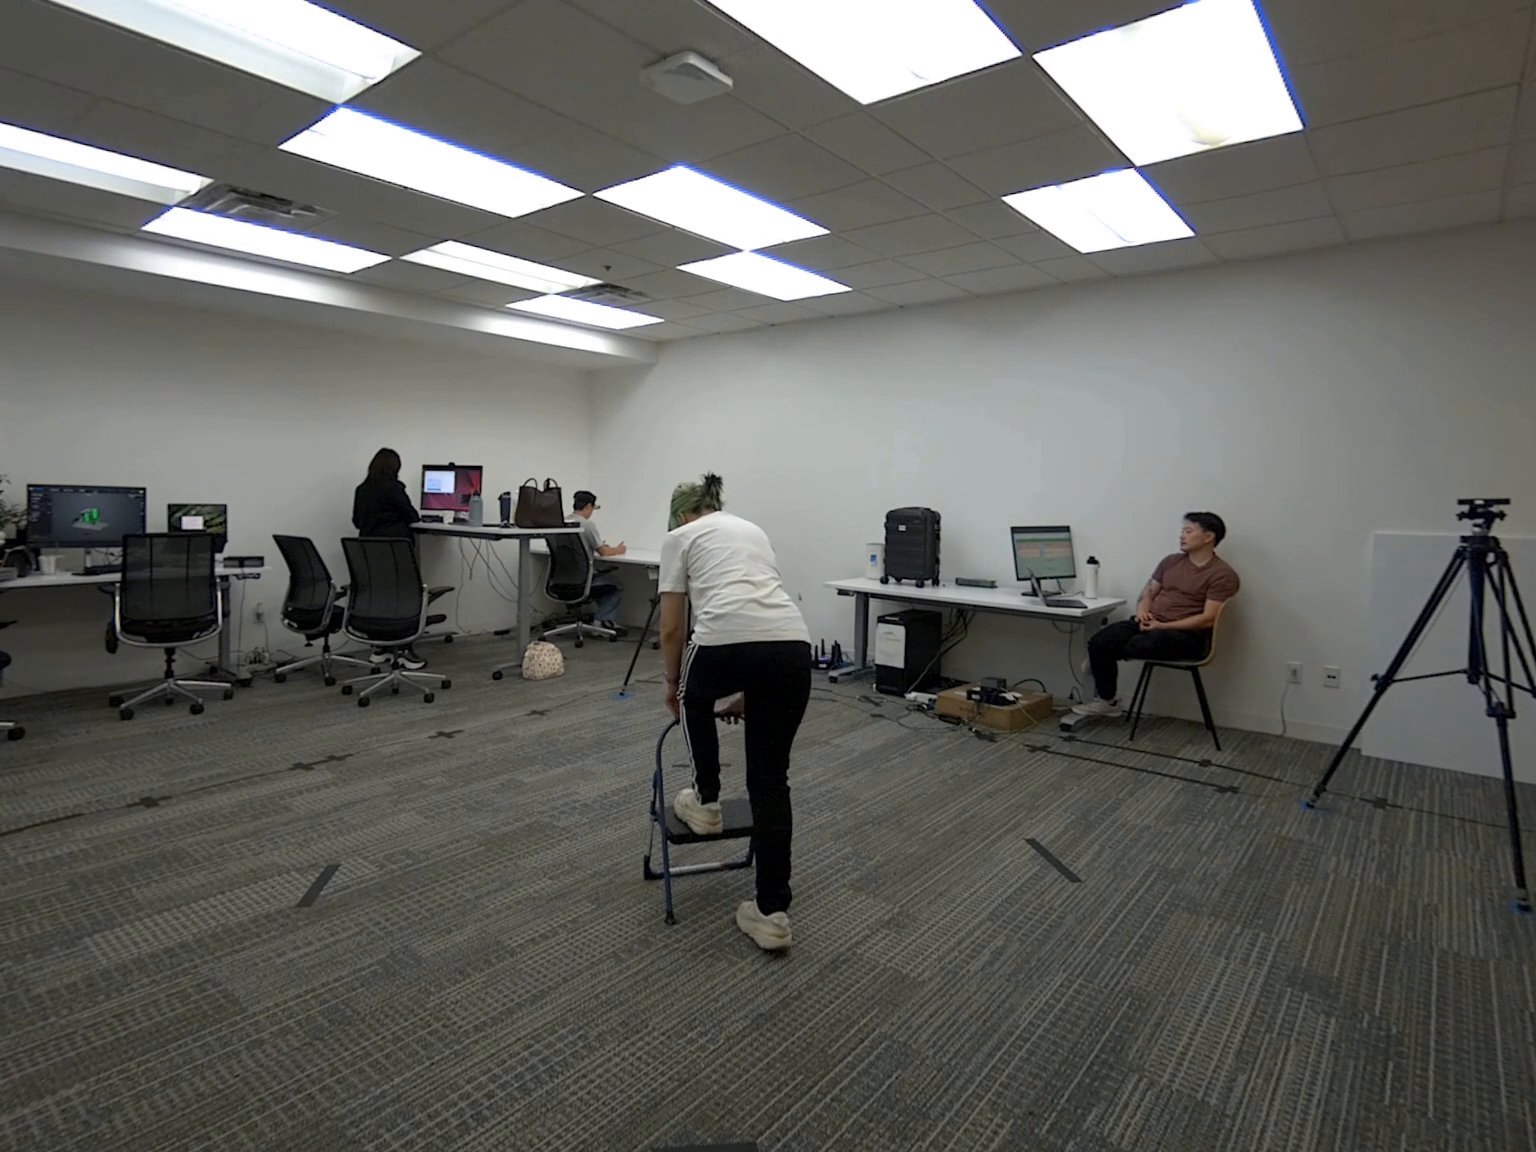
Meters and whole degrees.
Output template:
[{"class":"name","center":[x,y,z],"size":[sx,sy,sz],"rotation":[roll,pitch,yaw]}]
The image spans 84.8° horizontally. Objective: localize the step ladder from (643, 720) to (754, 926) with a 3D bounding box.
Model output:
[{"class":"step ladder","center":[-0.195,0.792,2.923],"size":[0.421,0.604,0.358],"rotation":[0,4,-22]}]
